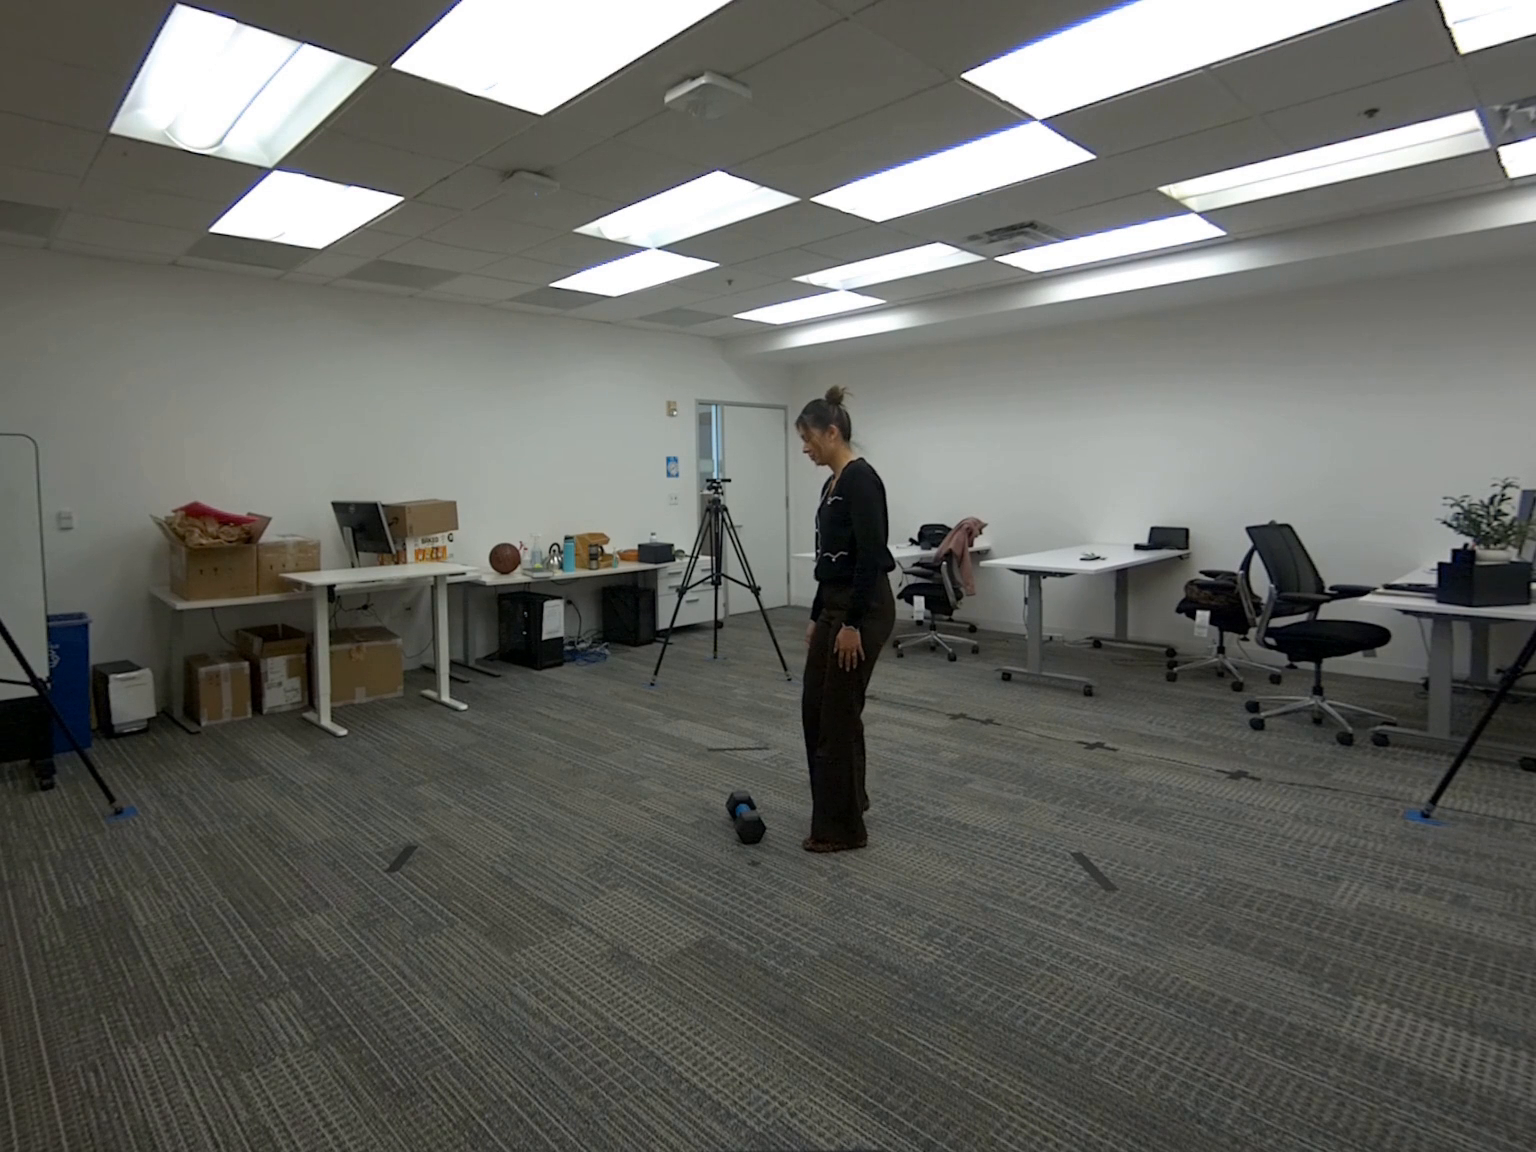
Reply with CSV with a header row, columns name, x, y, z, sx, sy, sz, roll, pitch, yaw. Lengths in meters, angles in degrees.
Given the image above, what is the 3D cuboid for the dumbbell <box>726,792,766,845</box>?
name,x,y,z,sx,sy,sz,roll,pitch,yaw
dumbbell,-0.089,0.960,3.407,0.108,0.121,0.297,-32,10,-5
